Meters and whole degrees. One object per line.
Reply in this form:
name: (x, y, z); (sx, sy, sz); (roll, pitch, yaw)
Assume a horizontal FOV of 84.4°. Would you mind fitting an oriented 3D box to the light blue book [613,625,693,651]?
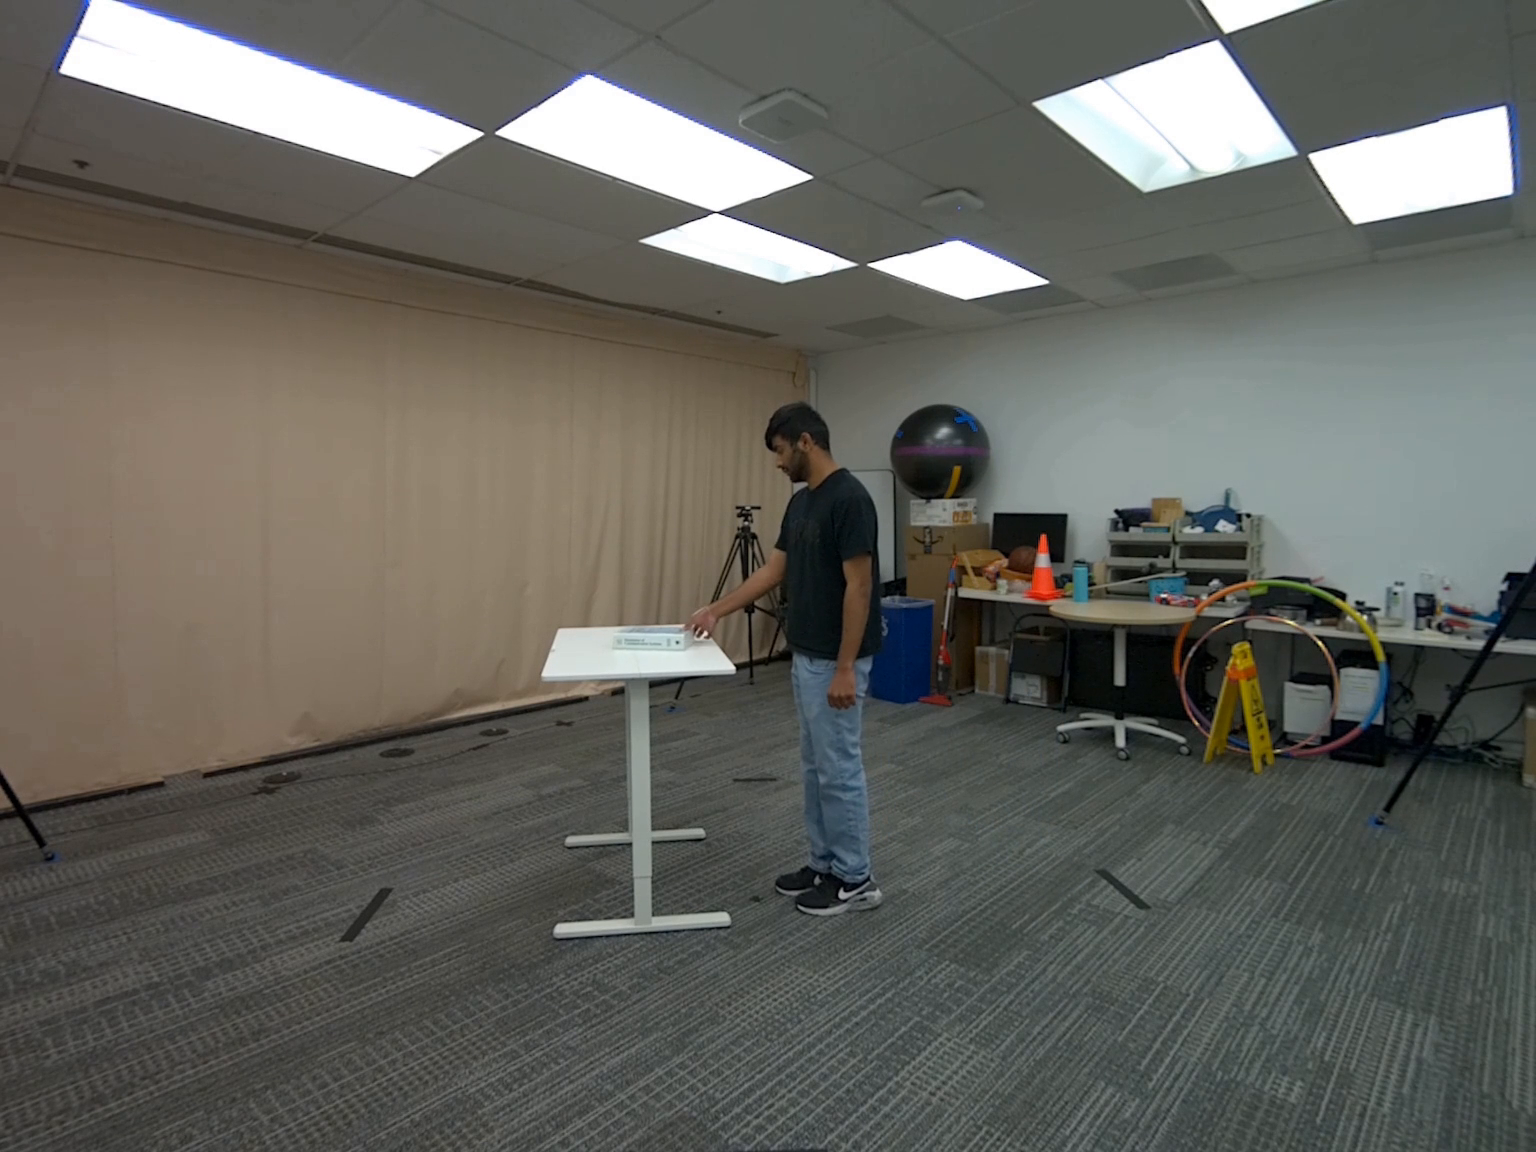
light blue book: (-0.411, 0.233, 3.088); (0.263, 0.059, 0.190); (0, 4, 5)
